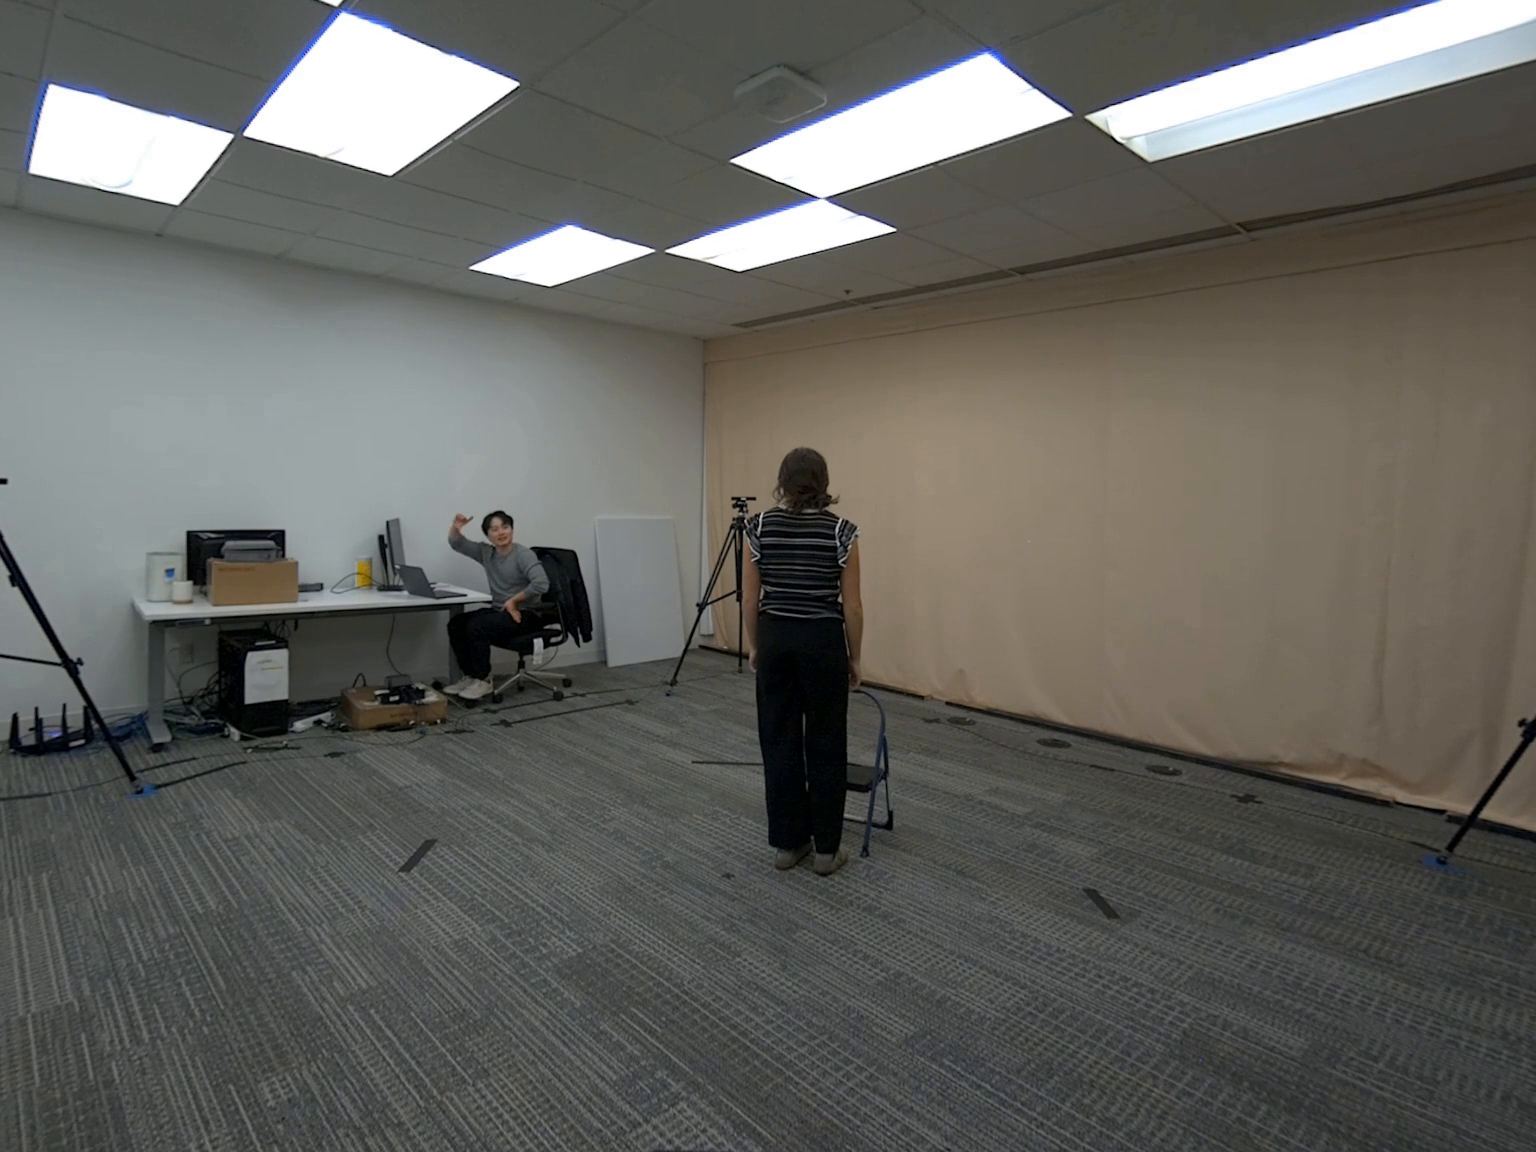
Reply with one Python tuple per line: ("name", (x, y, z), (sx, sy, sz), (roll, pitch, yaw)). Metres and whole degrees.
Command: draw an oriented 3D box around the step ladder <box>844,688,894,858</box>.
("step ladder", (0.279, 0.780, 3.540), (0.440, 0.605, 0.342), (4, 4, 29))
